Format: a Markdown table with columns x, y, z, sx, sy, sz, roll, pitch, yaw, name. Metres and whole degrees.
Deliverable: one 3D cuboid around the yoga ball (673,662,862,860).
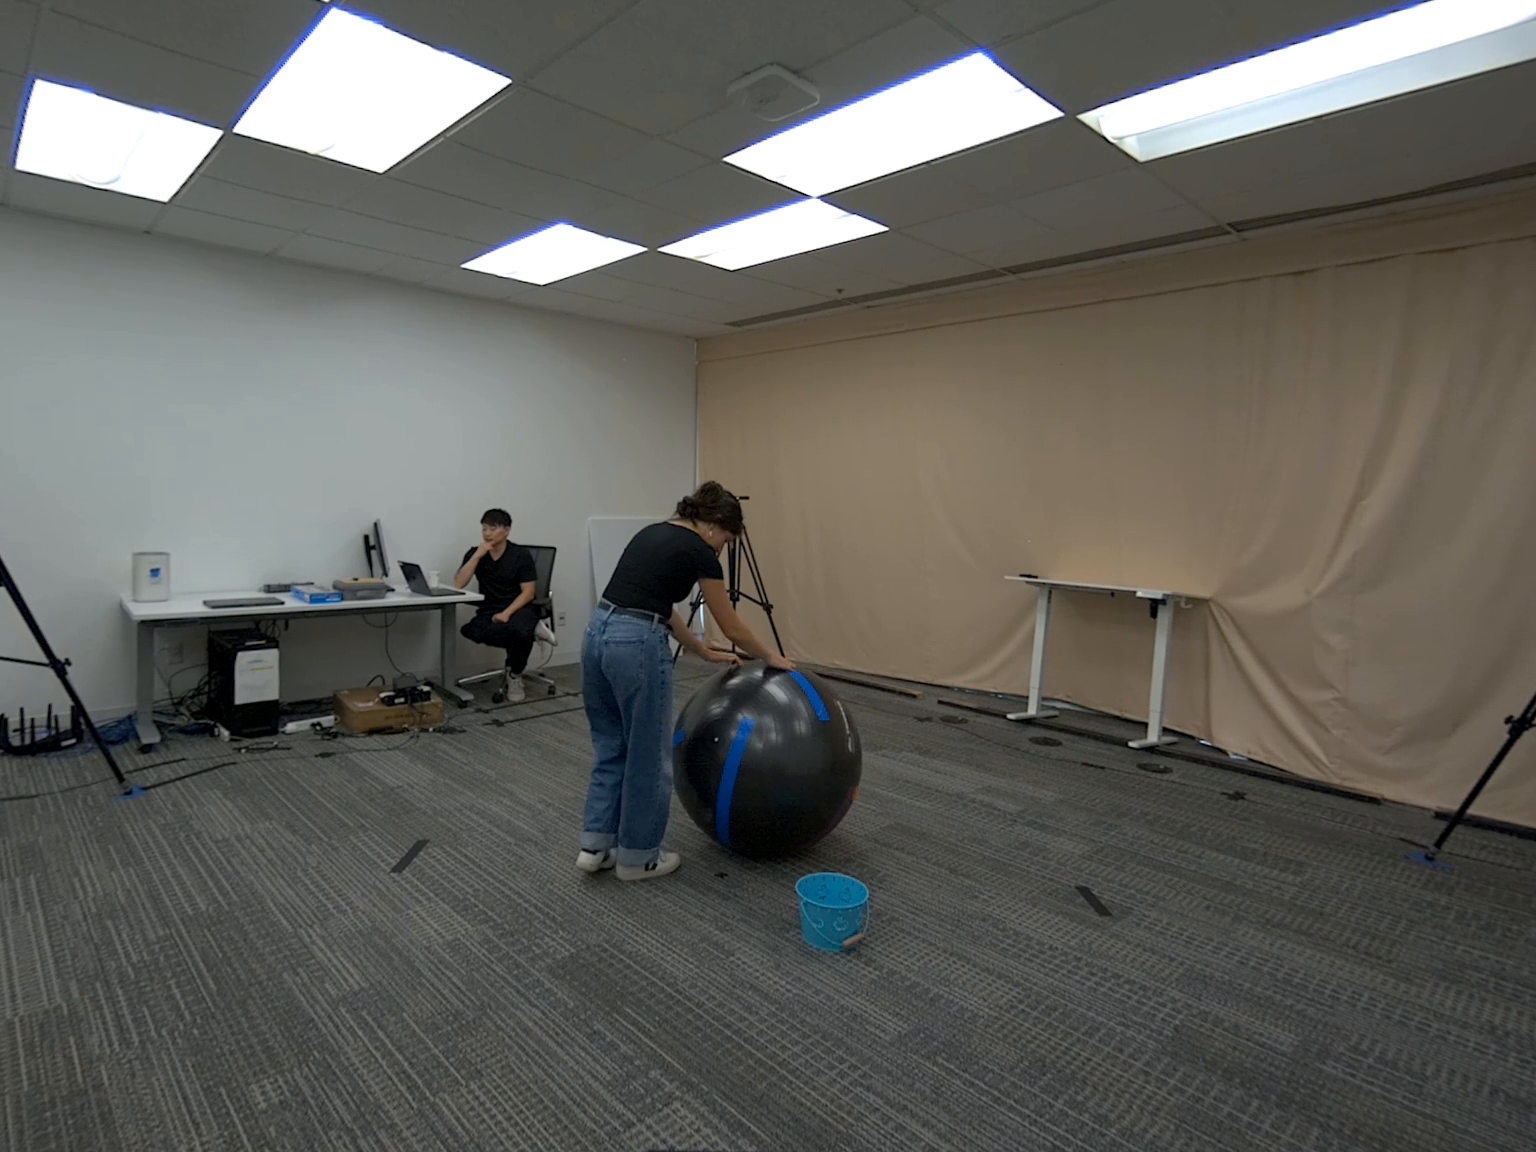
| x | y | z | sx | sy | sz | roll | pitch | yaw | name |
| --- | --- | --- | --- | --- | --- | --- | --- | --- | --- |
| -0.015 | 0.717 | 3.344 | 0.757 | 0.756 | 0.761 | 1 | 4 | -1 | yoga ball |
